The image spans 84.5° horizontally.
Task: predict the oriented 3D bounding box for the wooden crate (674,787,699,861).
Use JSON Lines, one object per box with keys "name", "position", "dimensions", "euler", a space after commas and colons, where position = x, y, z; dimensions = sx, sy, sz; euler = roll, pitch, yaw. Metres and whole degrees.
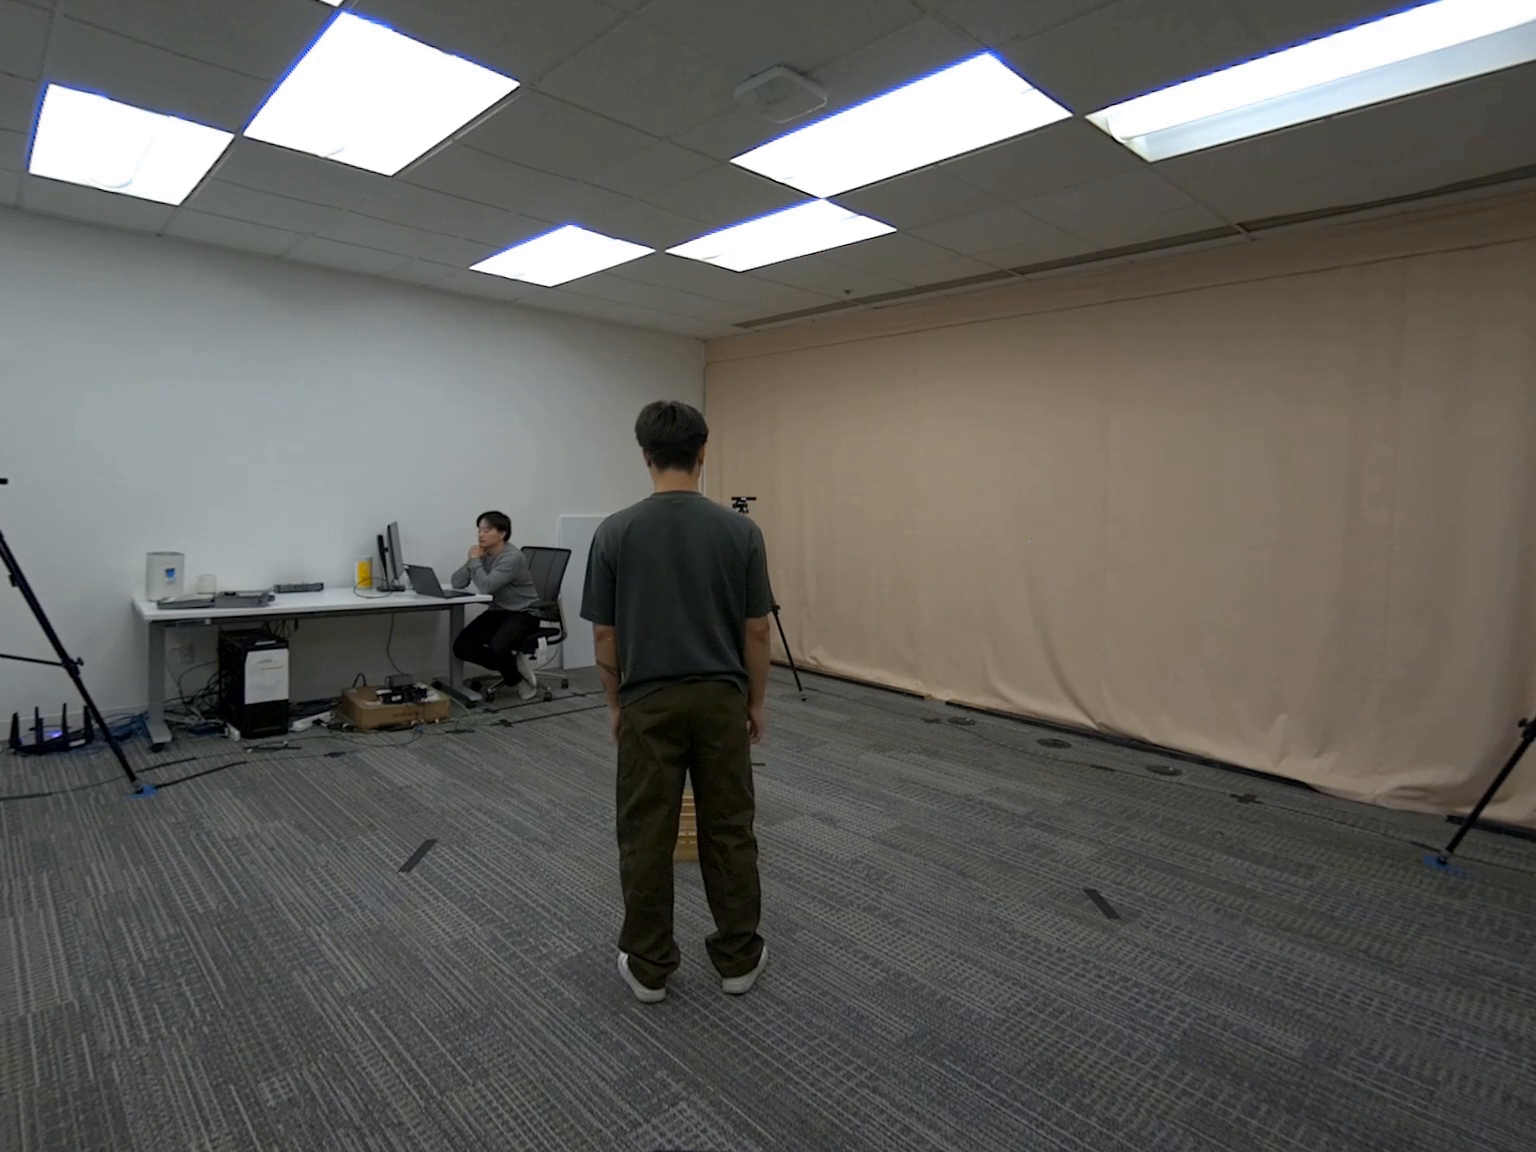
{"name": "wooden crate", "position": [-0.291, 0.951, 3.336], "dimensions": [0.323, 0.272, 0.304], "euler": [1, 4, -6]}
